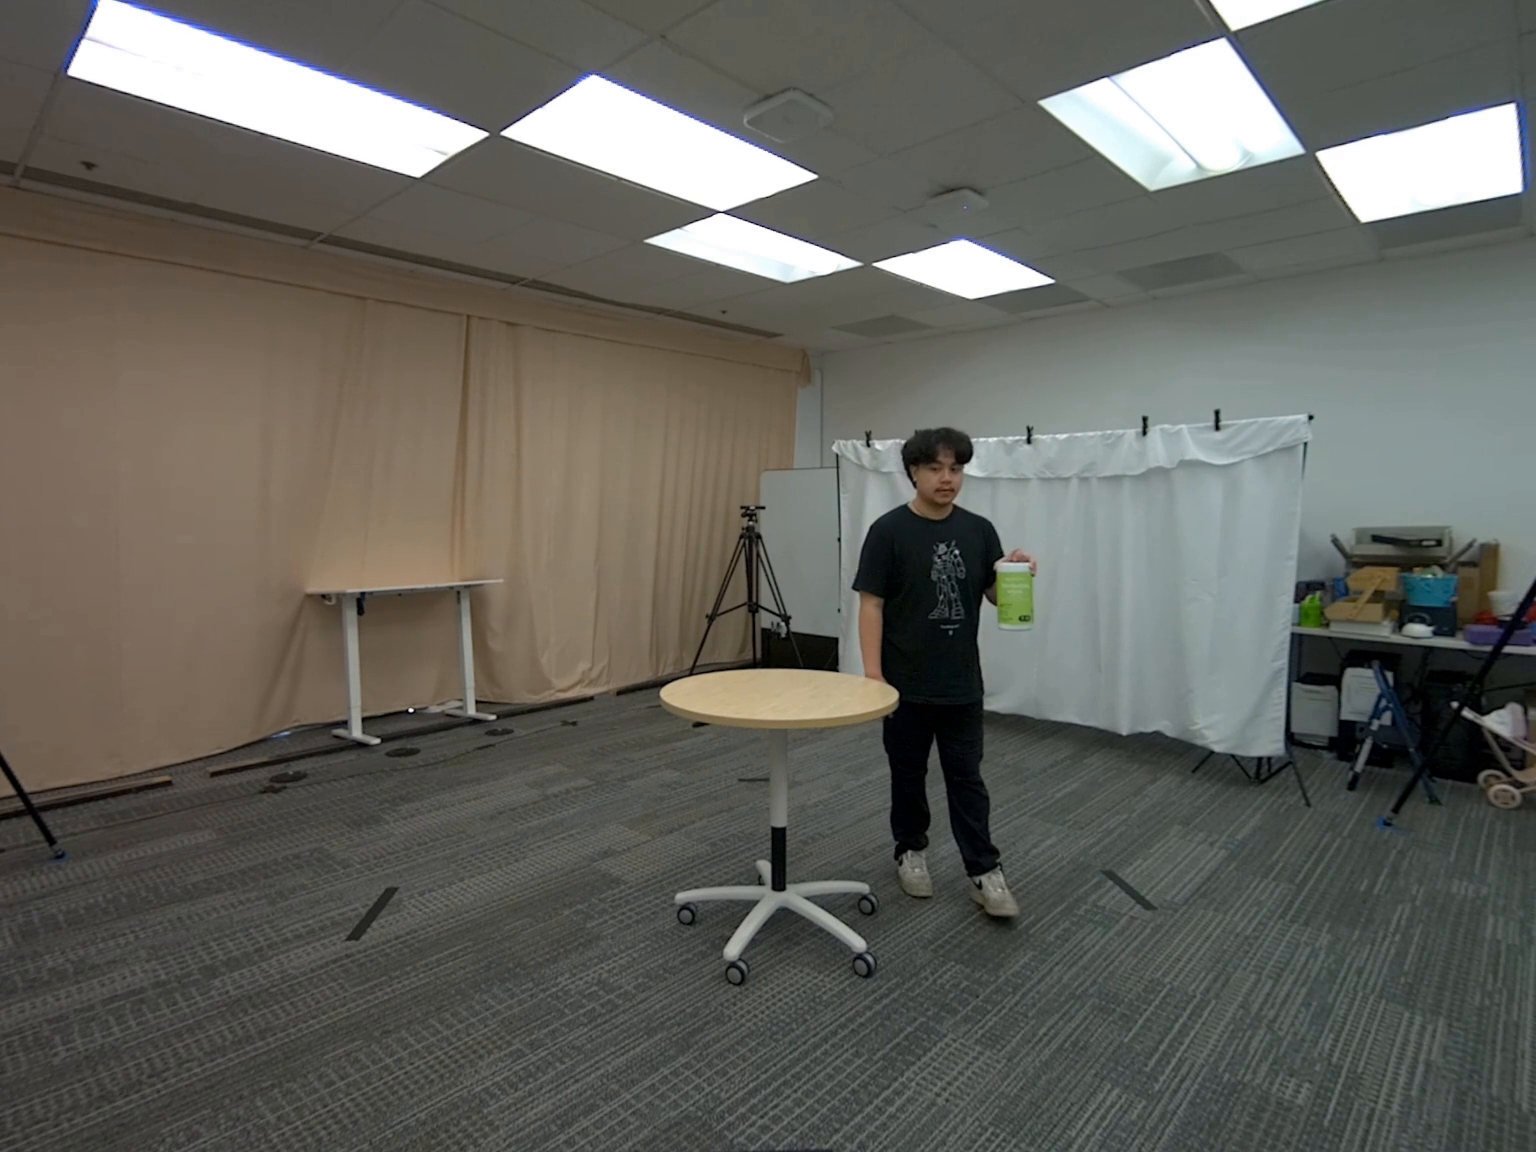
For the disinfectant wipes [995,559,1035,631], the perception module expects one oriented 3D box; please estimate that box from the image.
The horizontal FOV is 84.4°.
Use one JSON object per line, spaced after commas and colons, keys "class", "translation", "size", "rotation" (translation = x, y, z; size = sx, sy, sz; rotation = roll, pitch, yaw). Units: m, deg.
{"class": "disinfectant wipes", "translation": [0.797, 0.065, 2.711], "size": [0.118, 0.217, 0.118], "rotation": [-2, 3, -2]}
